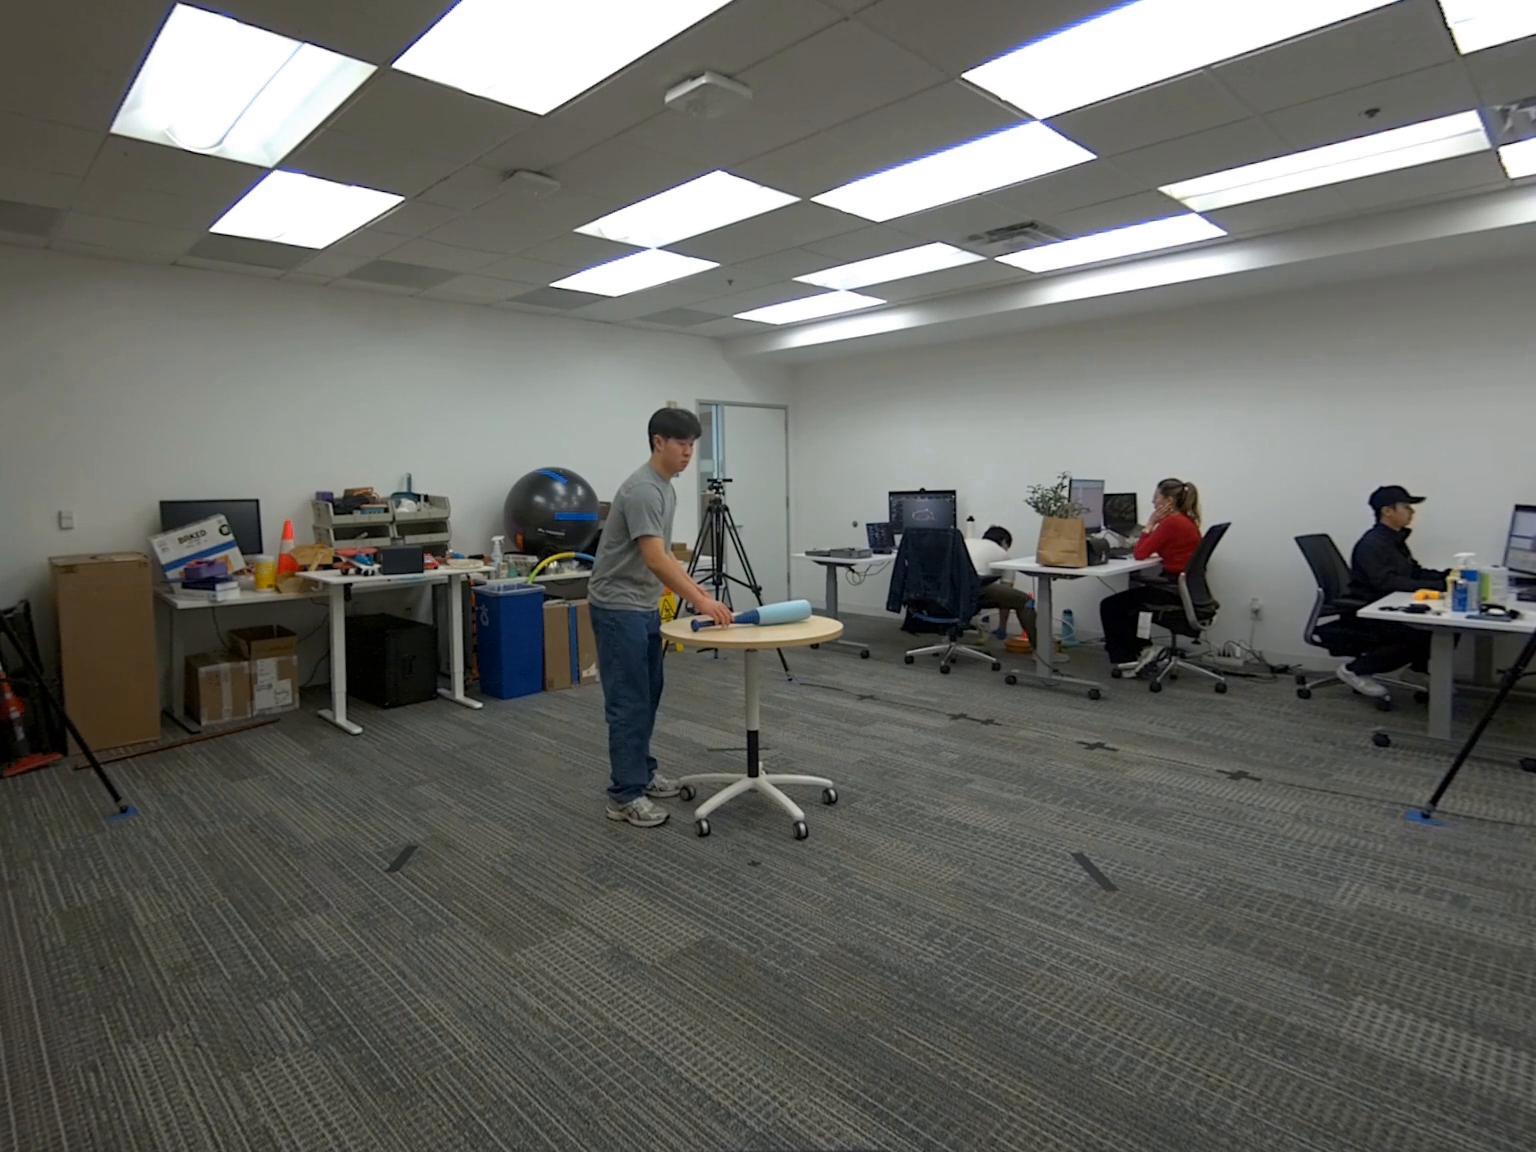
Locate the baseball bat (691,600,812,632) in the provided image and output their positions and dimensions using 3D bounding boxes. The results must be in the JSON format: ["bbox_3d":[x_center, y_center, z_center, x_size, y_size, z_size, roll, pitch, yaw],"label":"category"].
[{"bbox_3d":[-0.071,0.174,3.564,0.533,0.088,0.091,-7,7,-23],"label":"baseball bat"}]
